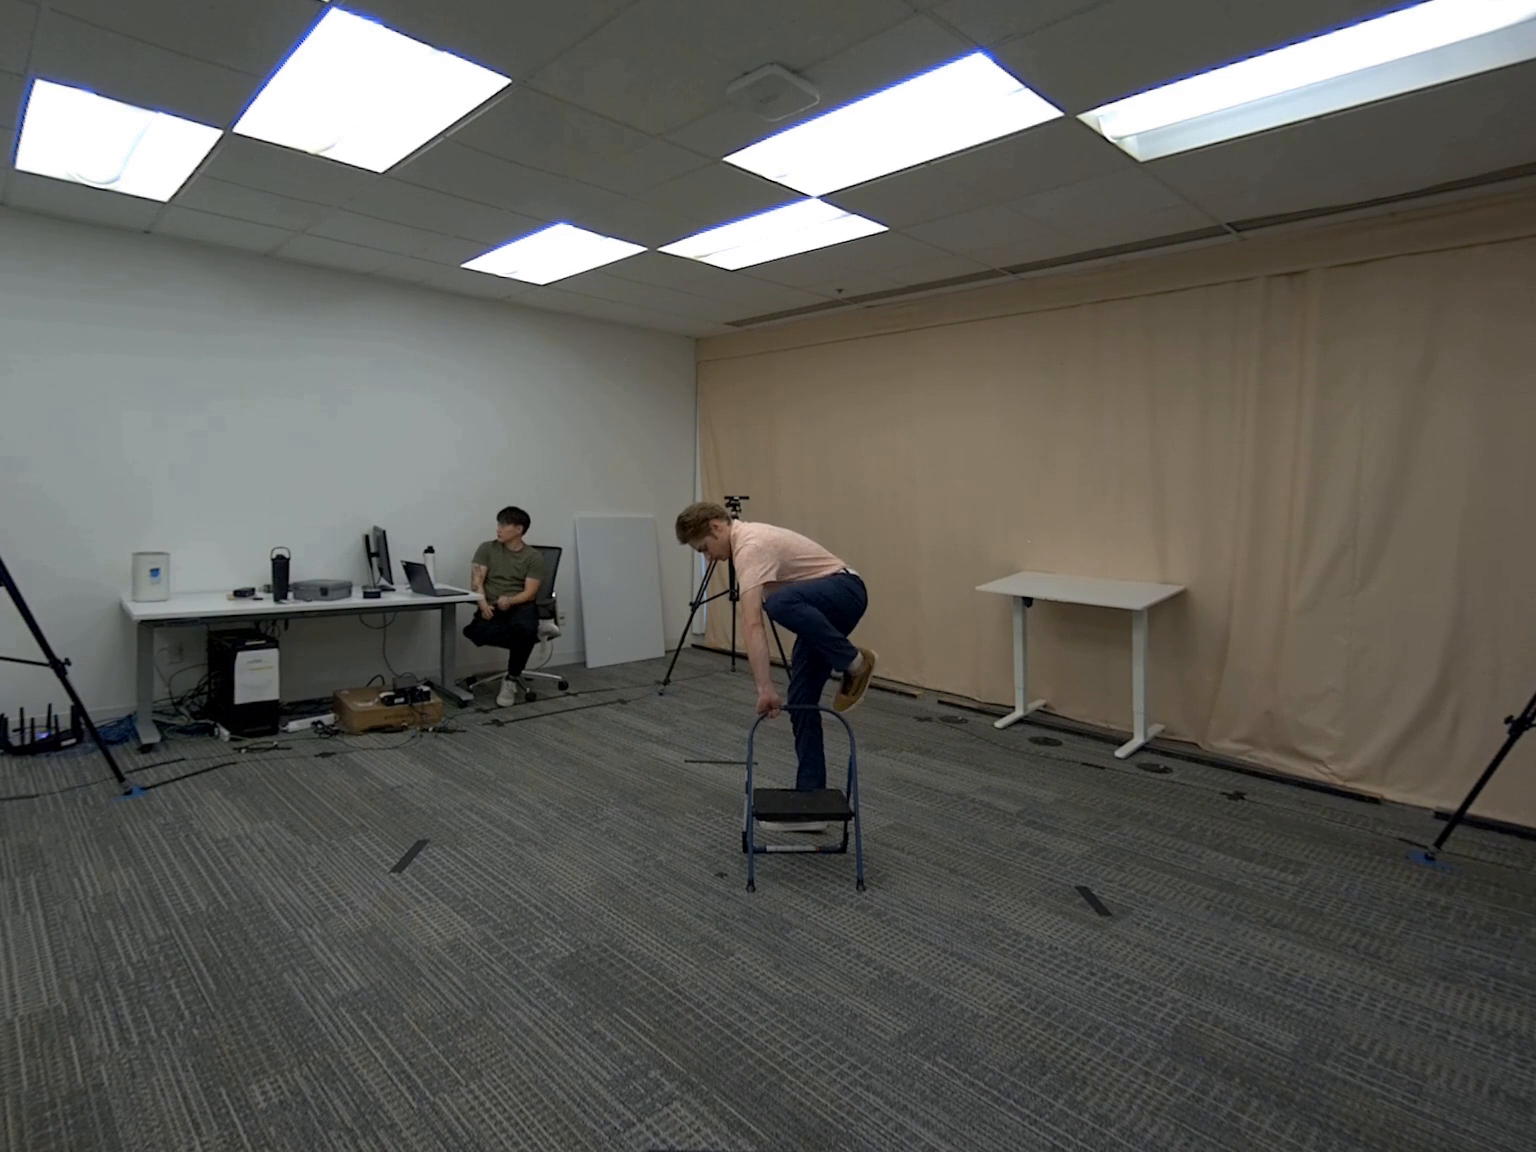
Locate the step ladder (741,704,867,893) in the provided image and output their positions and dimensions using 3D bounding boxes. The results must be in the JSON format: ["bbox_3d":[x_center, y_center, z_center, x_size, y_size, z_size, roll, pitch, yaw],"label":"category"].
[{"bbox_3d":[0.122,0.813,3.143,0.429,0.604,0.352,2,5,-5],"label":"step ladder"}]
